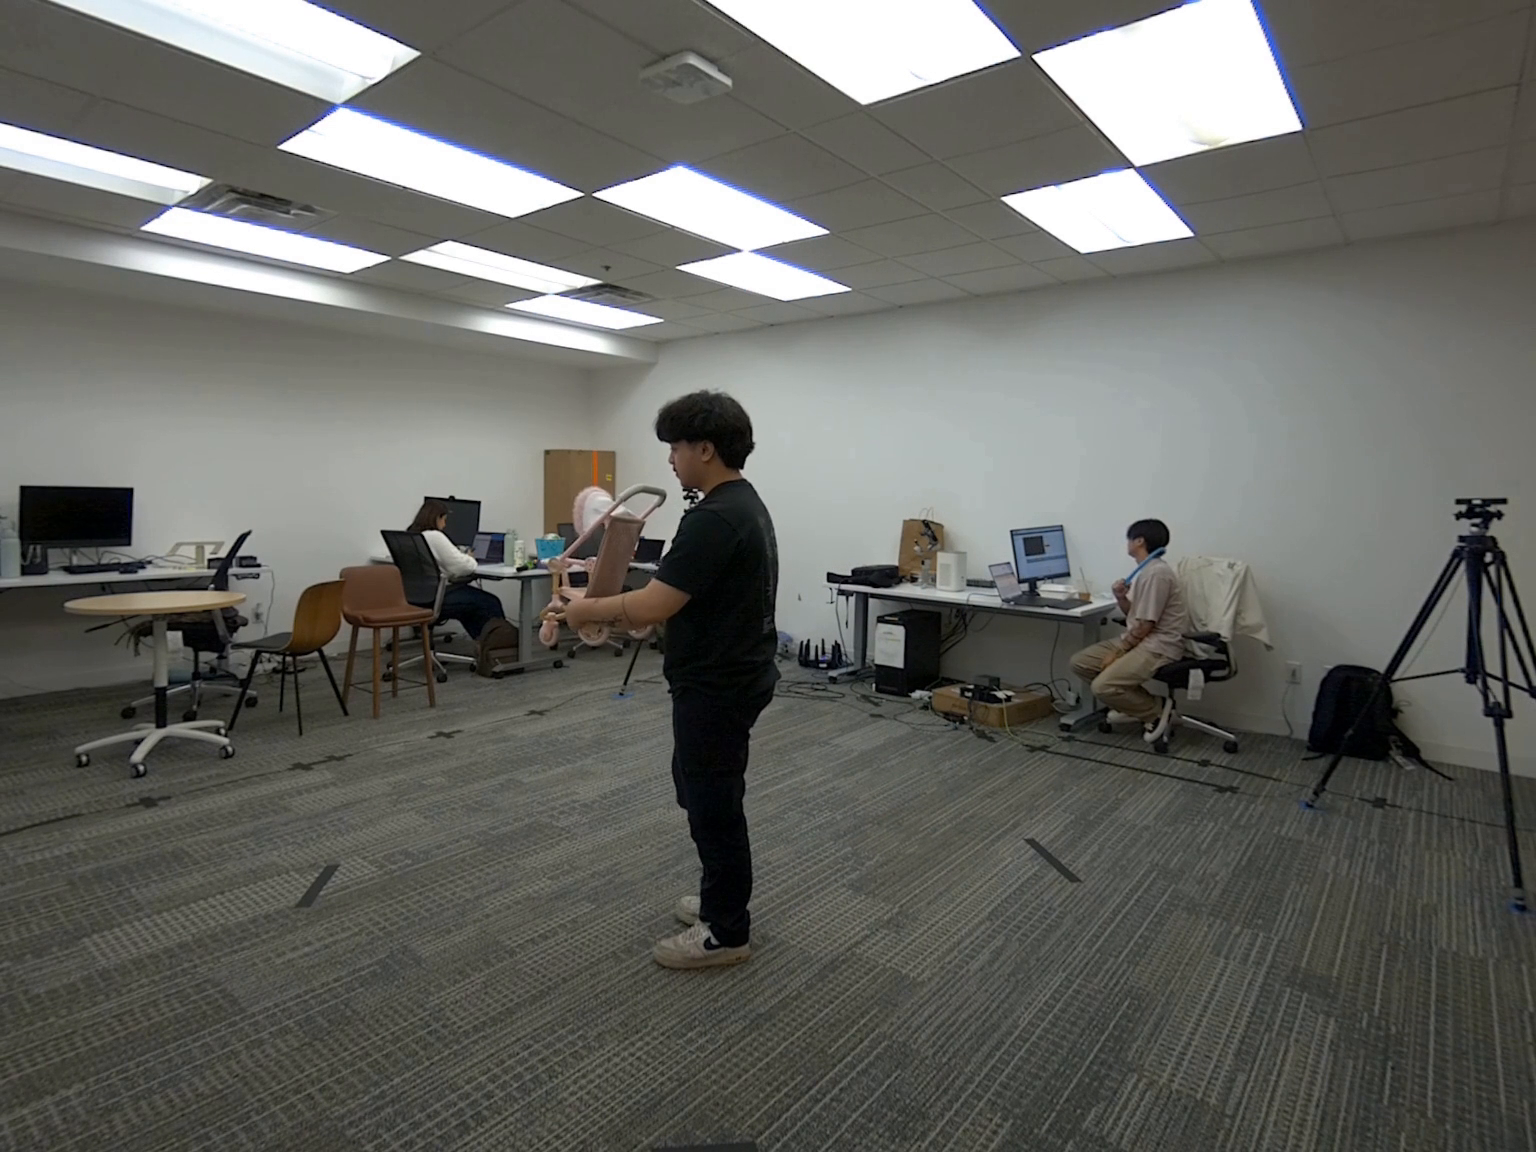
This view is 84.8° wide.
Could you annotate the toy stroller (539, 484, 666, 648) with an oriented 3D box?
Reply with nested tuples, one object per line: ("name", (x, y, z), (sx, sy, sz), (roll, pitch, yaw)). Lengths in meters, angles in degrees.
("toy stroller", (-0.532, -0.030, 2.558), (0.352, 0.534, 0.273), (10, 3, 28))
